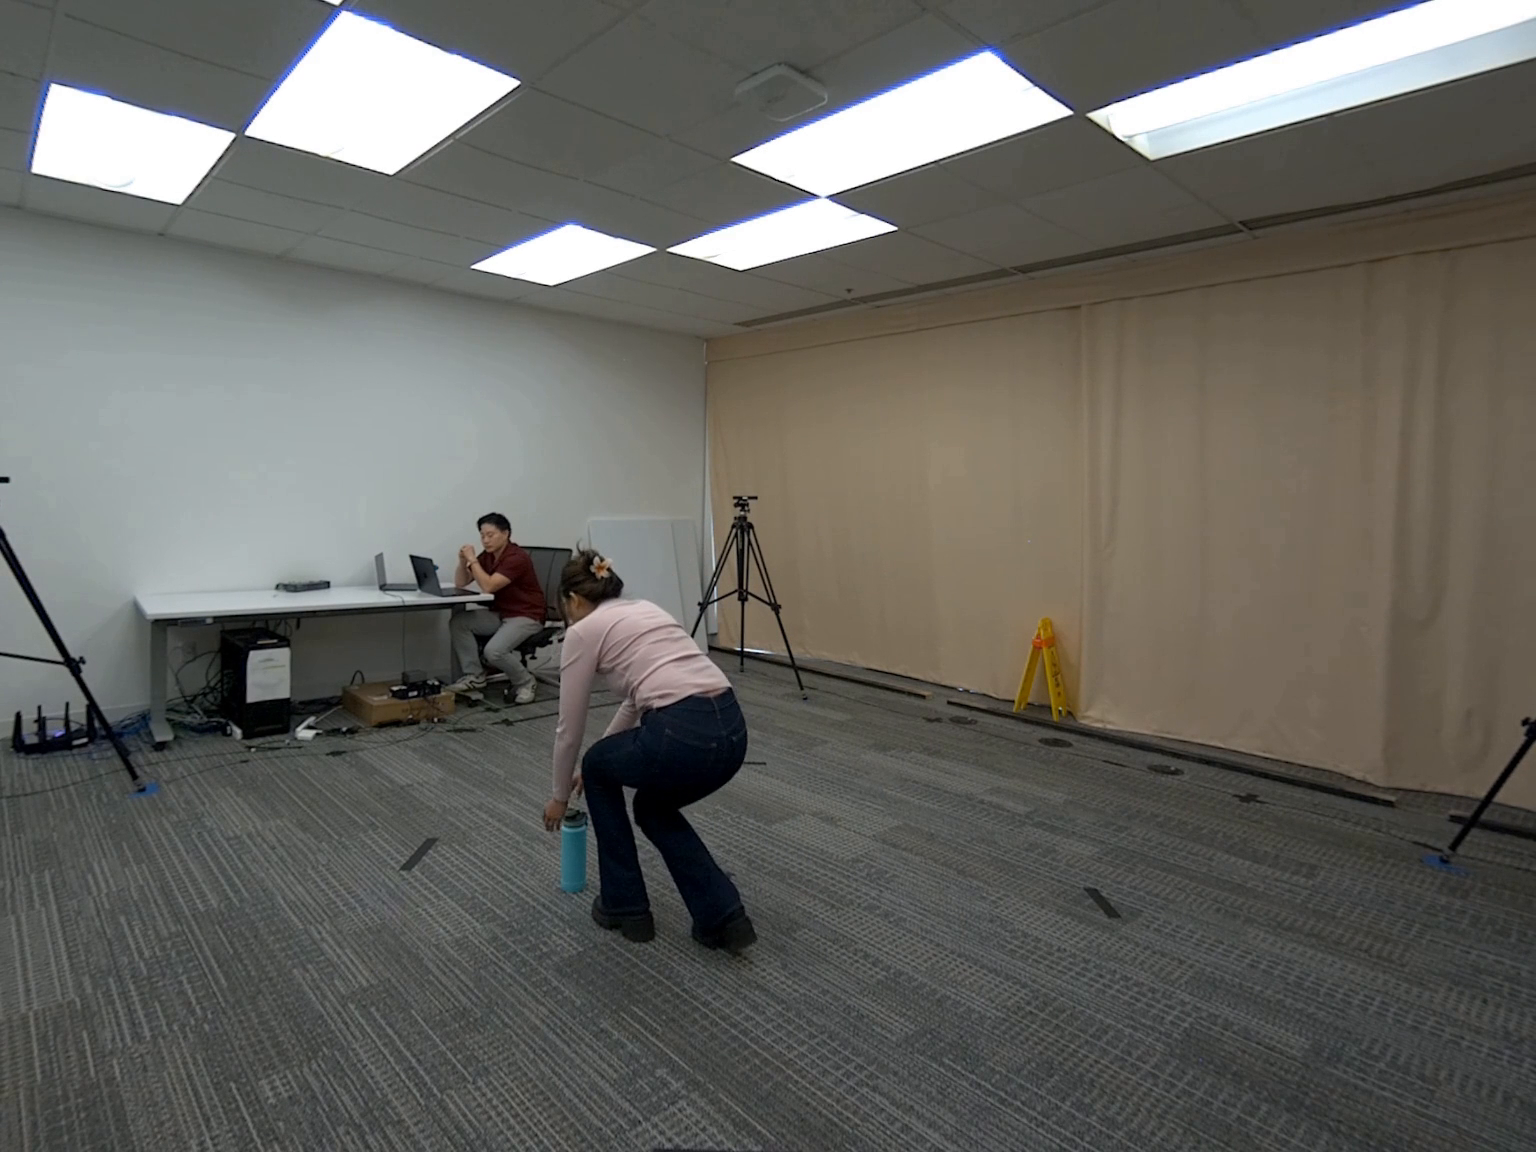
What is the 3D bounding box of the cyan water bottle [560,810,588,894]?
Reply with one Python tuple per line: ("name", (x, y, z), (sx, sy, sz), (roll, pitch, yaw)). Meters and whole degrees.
("cyan water bottle", (-0.698, 0.965, 2.970), (0.092, 0.282, 0.092), (2, 4, -2))
